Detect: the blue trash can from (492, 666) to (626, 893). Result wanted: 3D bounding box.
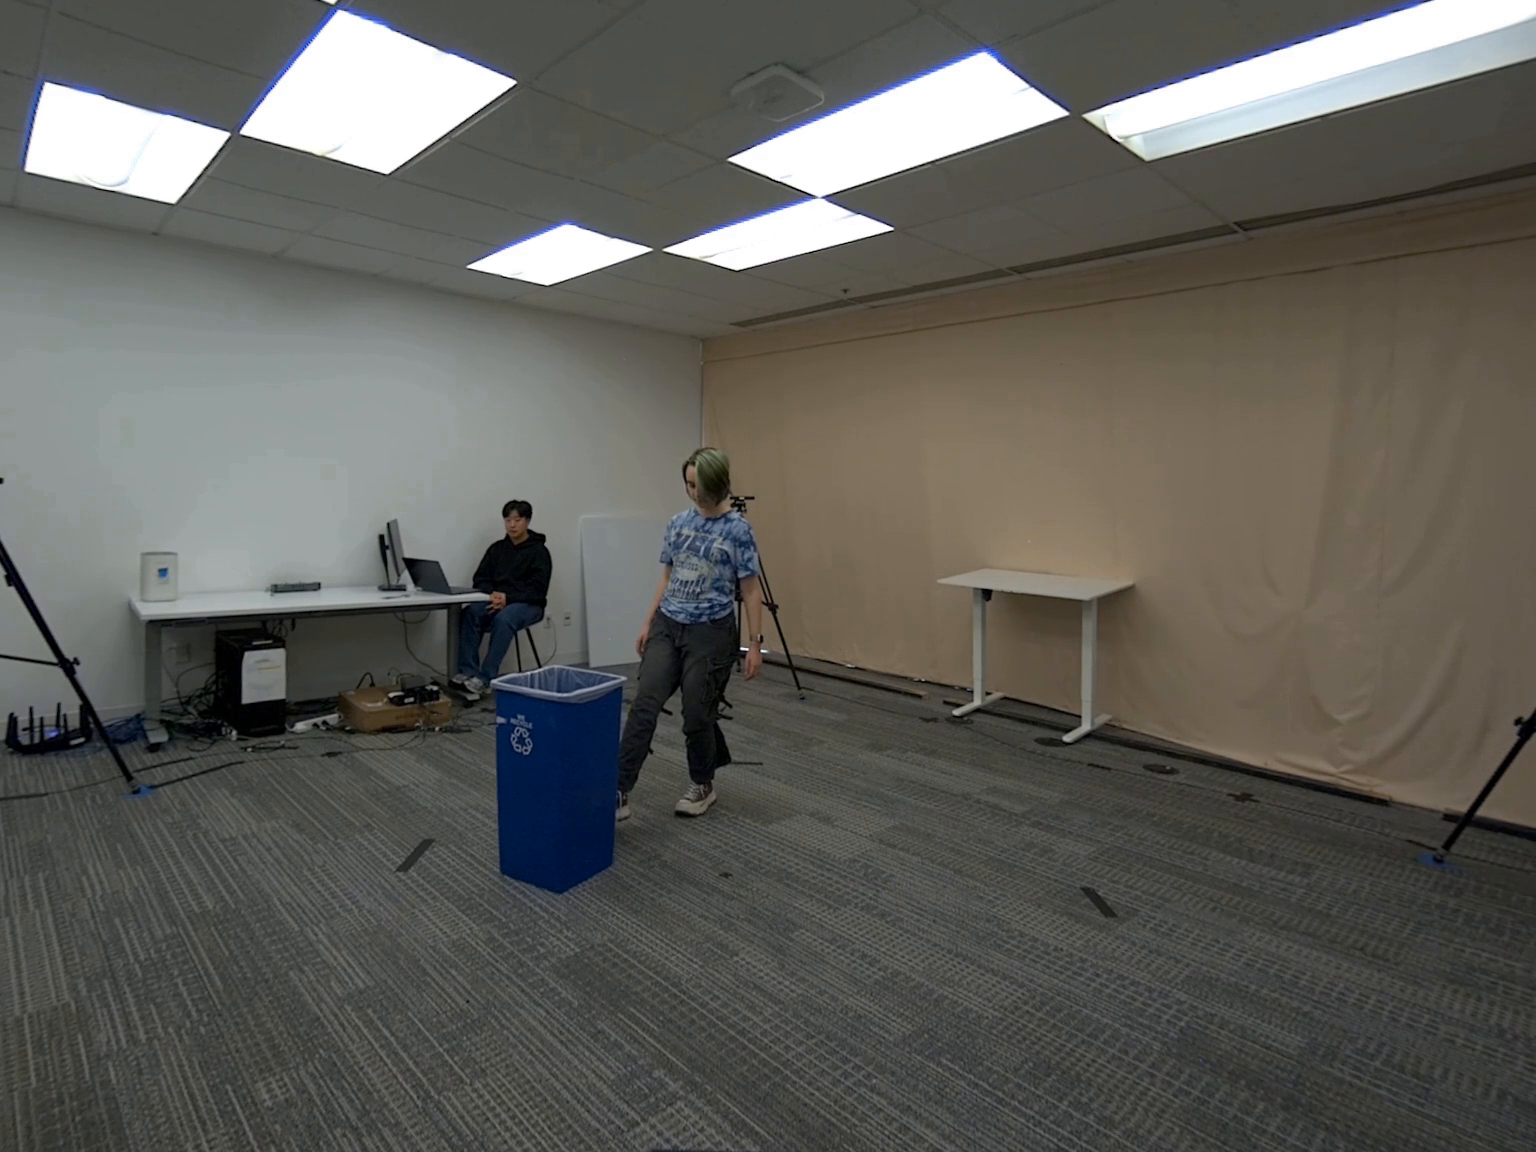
[{"bbox_3d":[-0.774,0.734,3.101,0.382,0.711,0.371,4,4,29],"label":"blue trash can"}]
